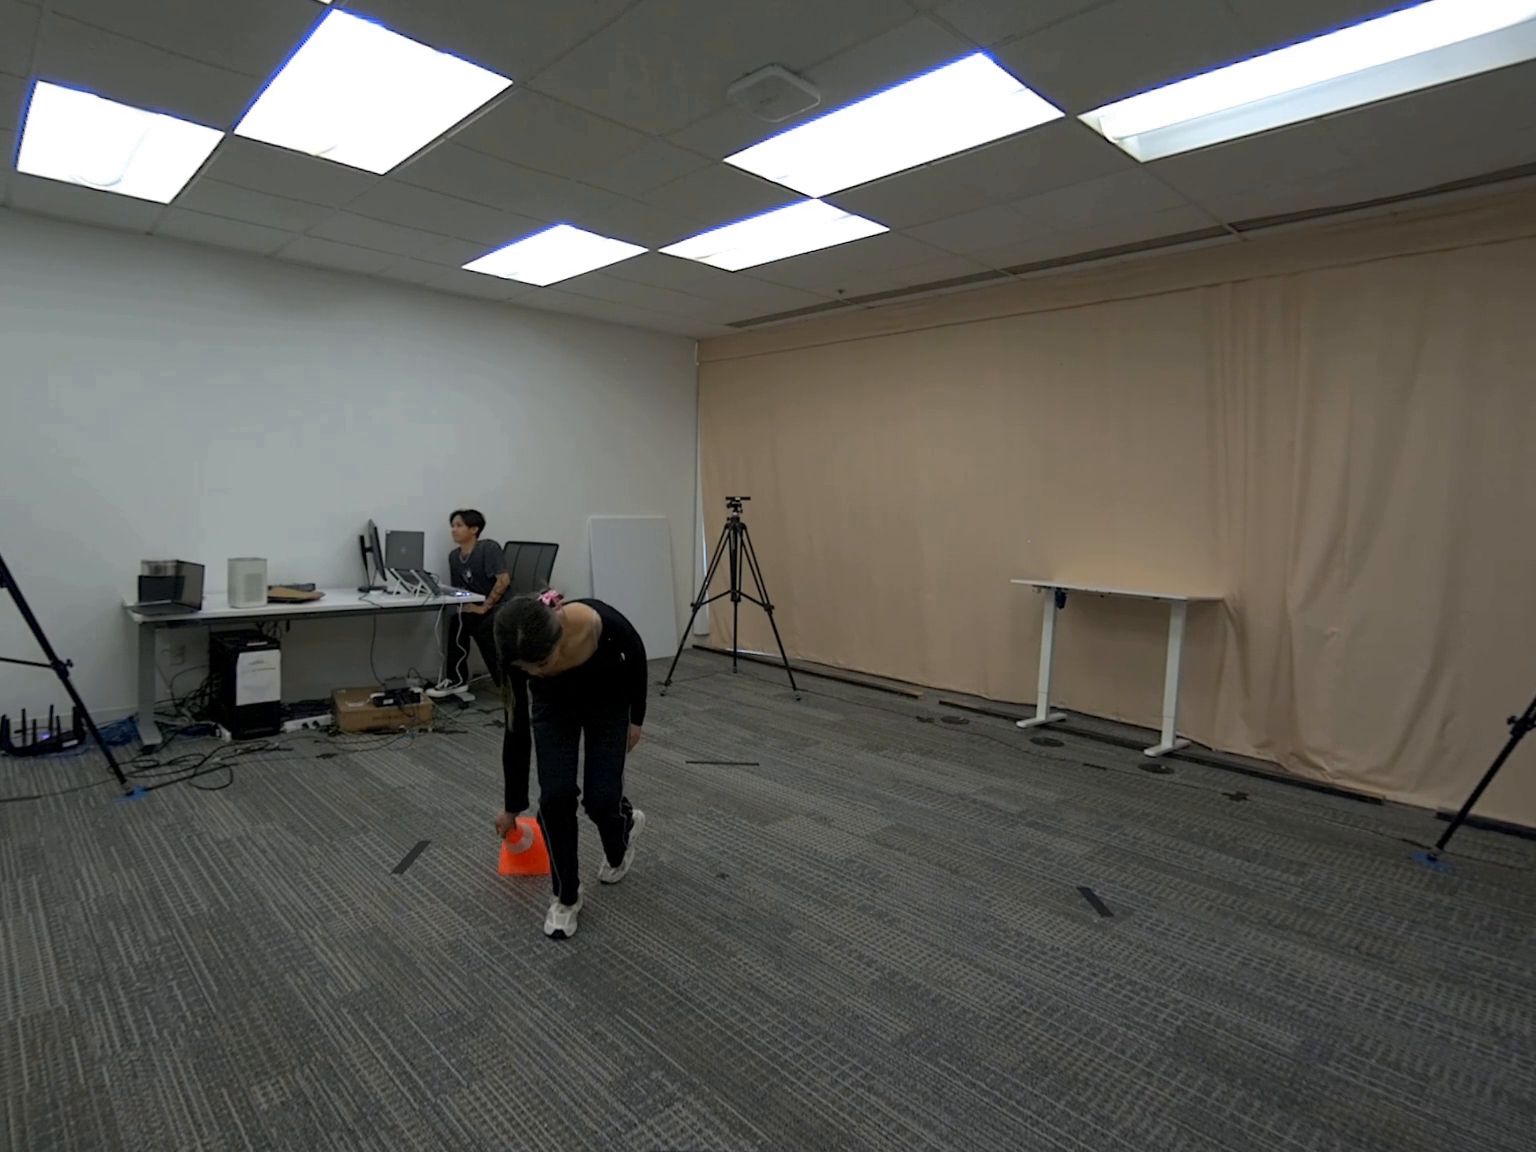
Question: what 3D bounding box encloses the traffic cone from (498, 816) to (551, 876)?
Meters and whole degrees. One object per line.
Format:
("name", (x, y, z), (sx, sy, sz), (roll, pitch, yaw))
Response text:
("traffic cone", (-0.892, 0.919, 2.968), (0.205, 0.207, 0.376), (1, -28, 0))
